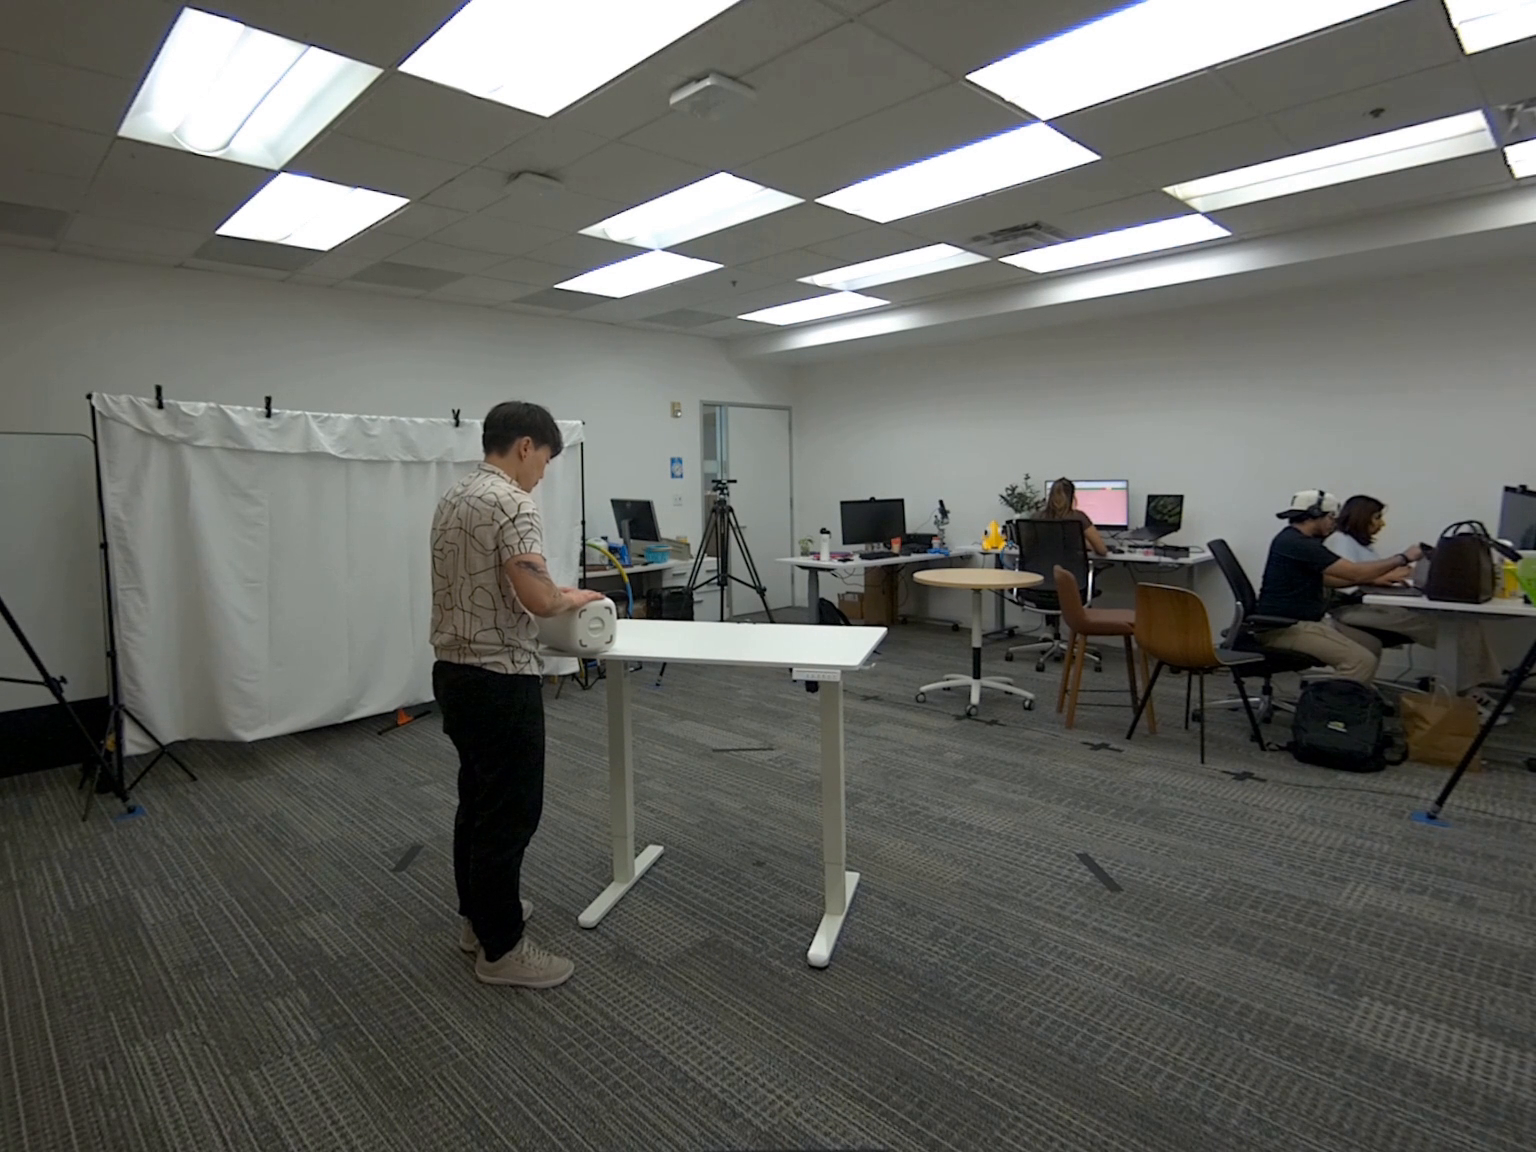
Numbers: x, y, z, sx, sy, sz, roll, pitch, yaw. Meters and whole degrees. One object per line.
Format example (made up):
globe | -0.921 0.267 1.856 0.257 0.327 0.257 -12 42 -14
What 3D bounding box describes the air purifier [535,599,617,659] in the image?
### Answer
air purifier | -0.601 0.140 2.663 0.167 0.170 0.274 -4 7 -40
